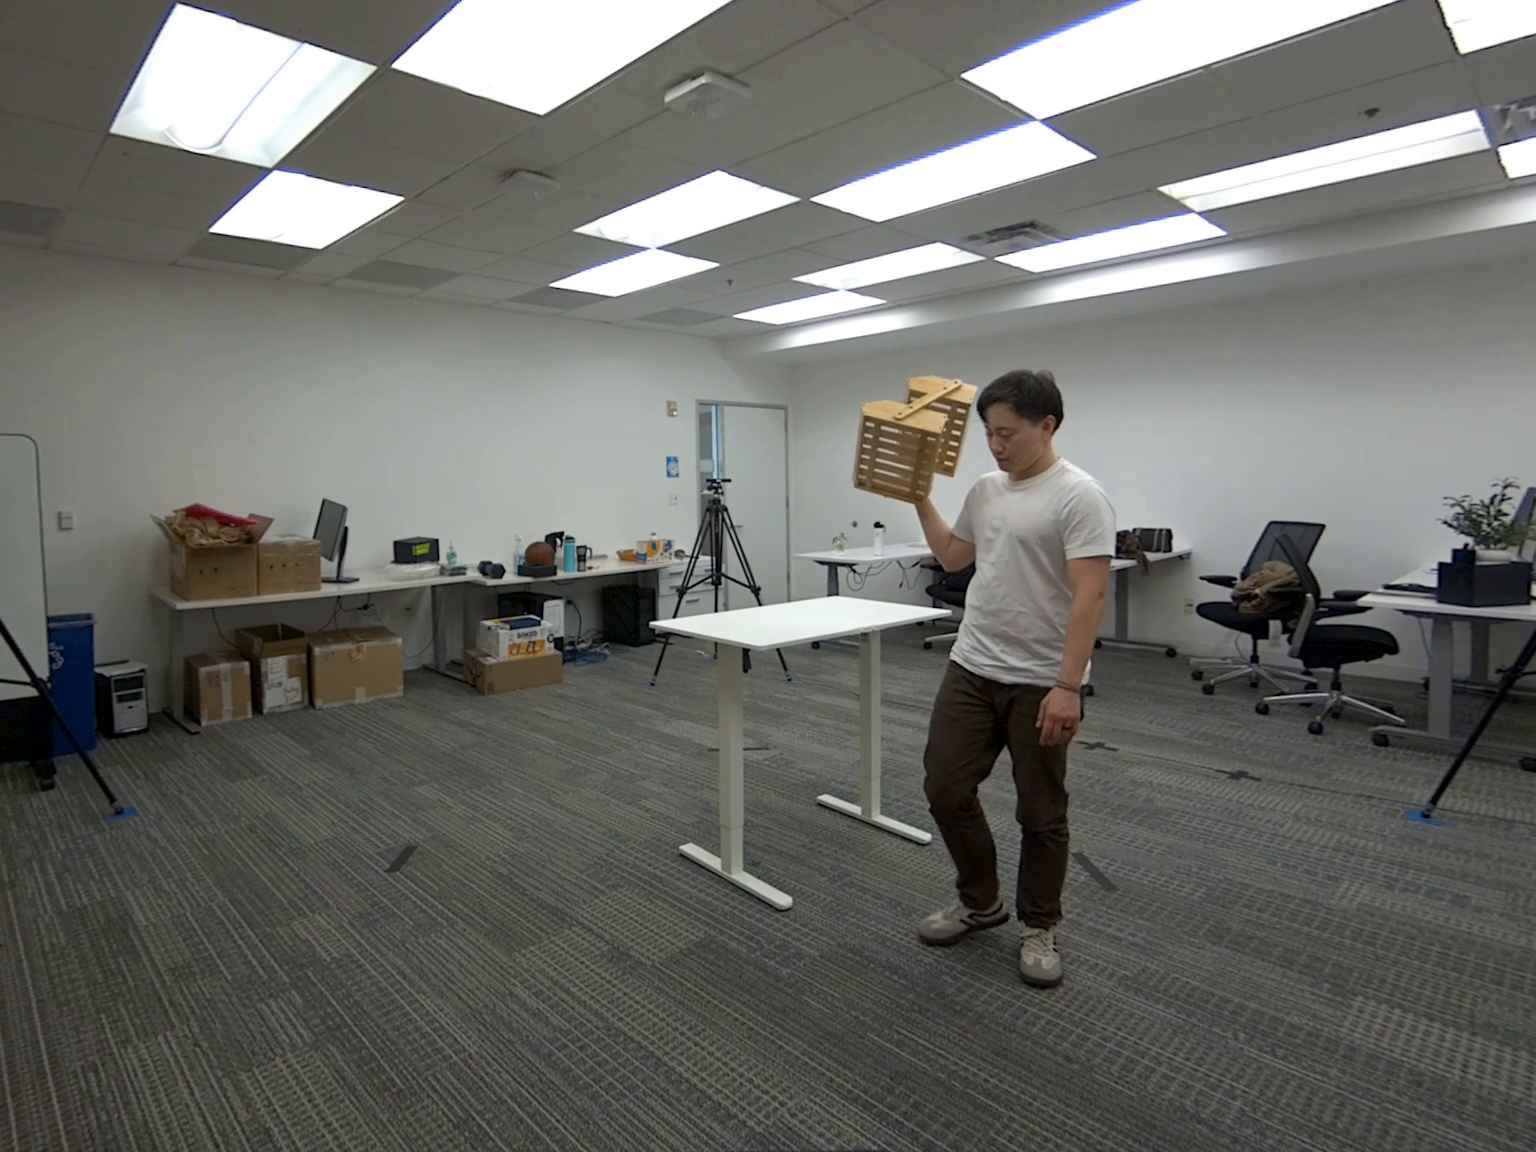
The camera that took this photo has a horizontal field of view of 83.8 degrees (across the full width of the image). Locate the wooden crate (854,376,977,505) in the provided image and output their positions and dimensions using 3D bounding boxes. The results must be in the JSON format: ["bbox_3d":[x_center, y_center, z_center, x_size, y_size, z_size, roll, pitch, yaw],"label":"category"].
[{"bbox_3d":[0.452,-0.437,2.673,0.308,0.316,0.275,18,50,15],"label":"wooden crate"}]
